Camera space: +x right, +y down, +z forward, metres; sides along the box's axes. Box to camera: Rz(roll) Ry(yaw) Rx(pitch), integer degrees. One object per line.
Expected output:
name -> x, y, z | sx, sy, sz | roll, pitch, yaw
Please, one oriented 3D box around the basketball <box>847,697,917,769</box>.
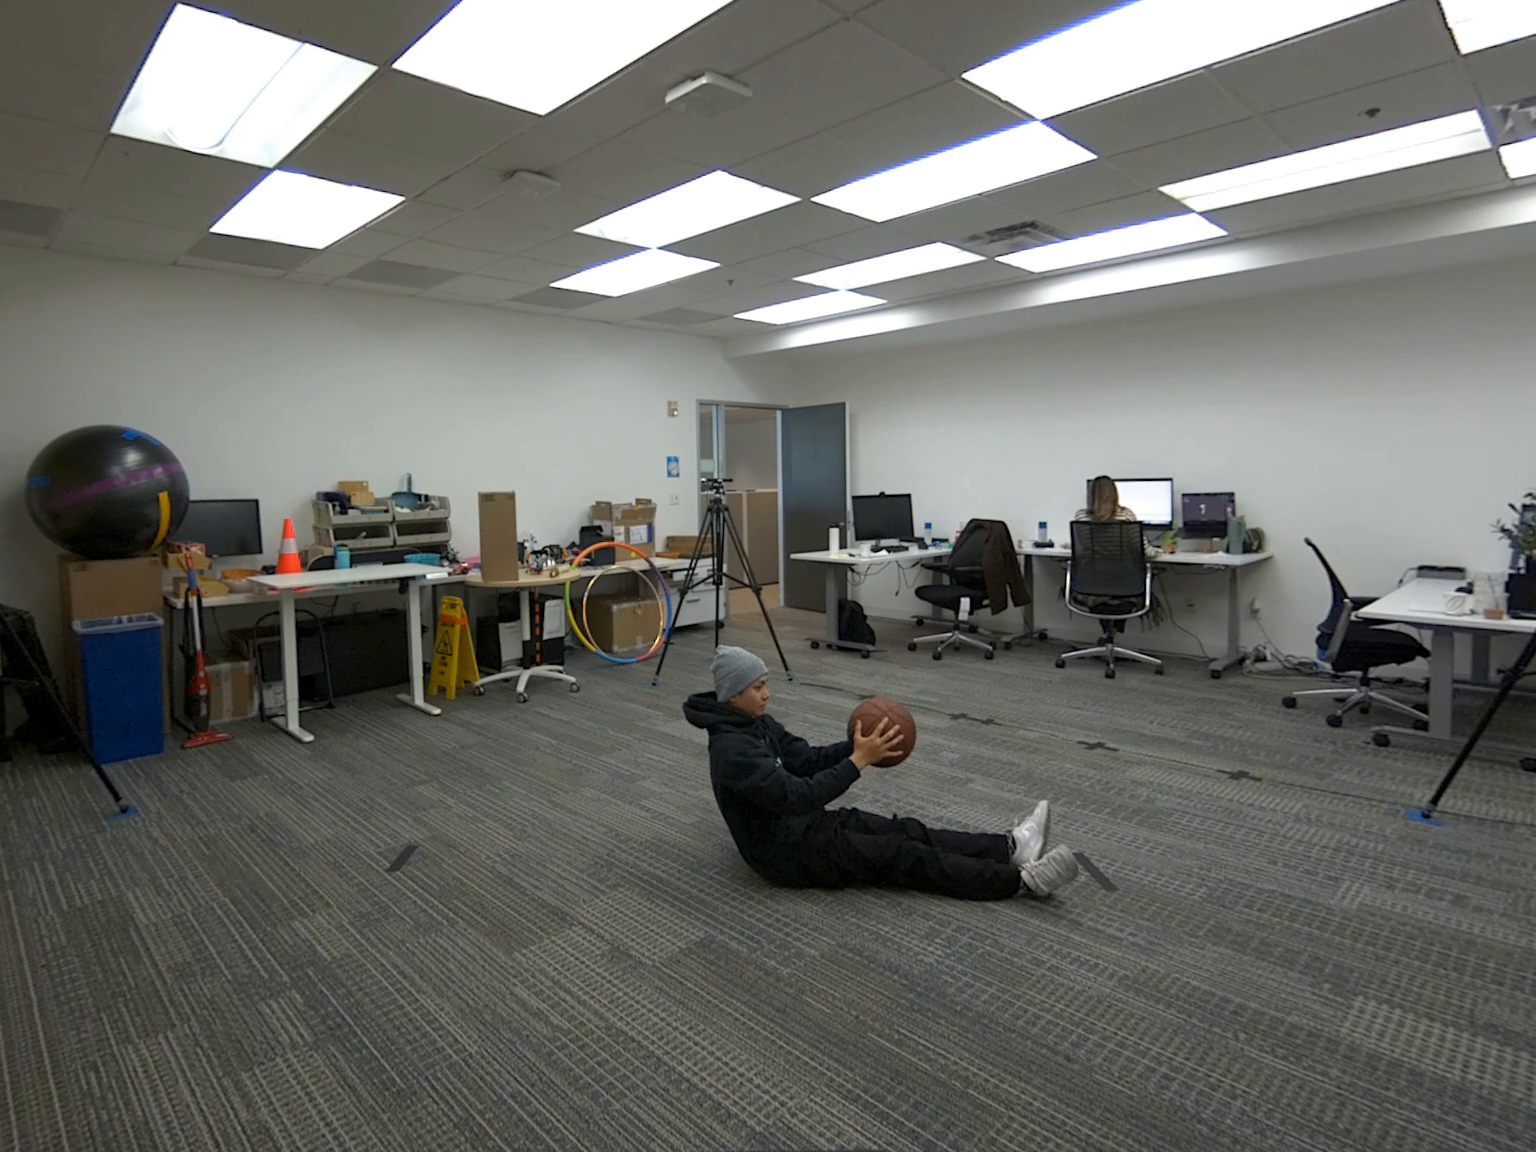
basketball -> 0.388, 0.548, 2.969 | 0.236, 0.235, 0.237 | -1, 5, -2
